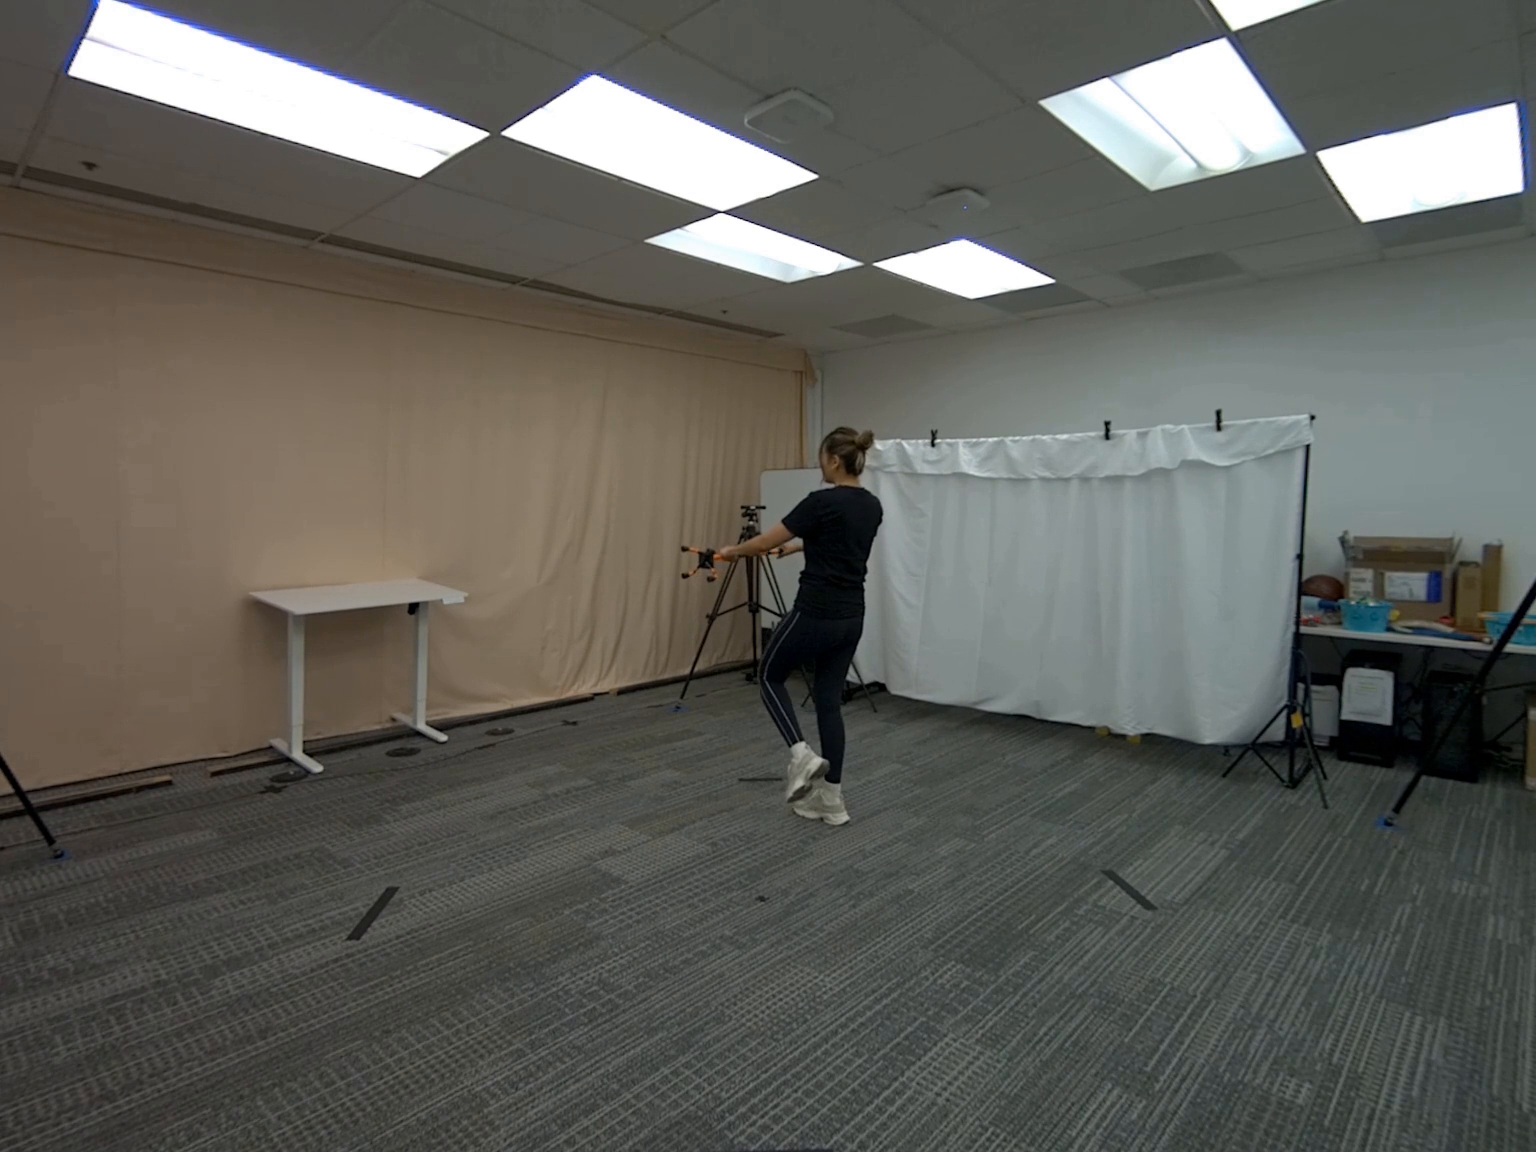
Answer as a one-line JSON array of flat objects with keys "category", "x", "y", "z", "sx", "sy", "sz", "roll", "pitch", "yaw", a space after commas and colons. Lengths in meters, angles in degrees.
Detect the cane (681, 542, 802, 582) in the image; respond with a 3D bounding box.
[{"category": "cane", "x": 0.002, "y": -0.104, "z": 4.064, "sx": 0.882, "sy": 0.151, "sz": 0.213, "roll": -8, "pitch": 10, "yaw": -42}]
